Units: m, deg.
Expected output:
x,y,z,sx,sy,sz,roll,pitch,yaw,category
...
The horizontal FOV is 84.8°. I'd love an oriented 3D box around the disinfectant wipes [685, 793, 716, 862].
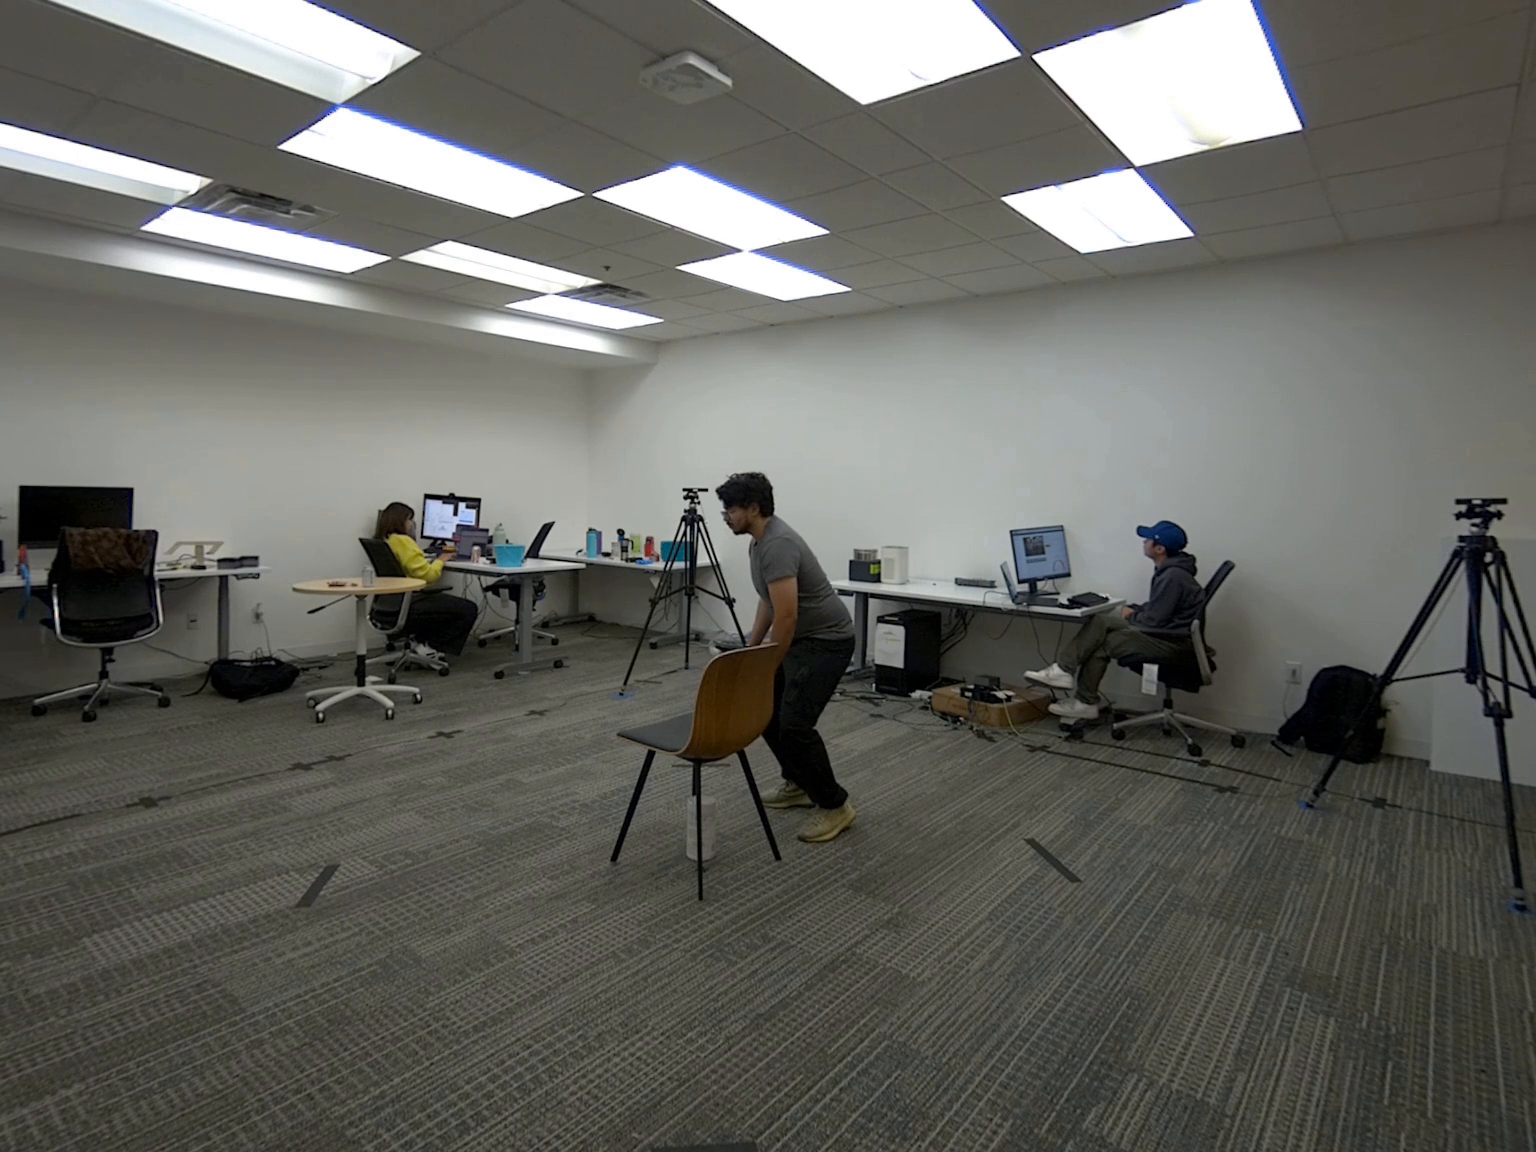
x,y,z,sx,sy,sz,roll,pitch,yaw,category
-0.260,0.958,3.226,0.118,0.217,0.118,1,2,-2,disinfectant wipes
